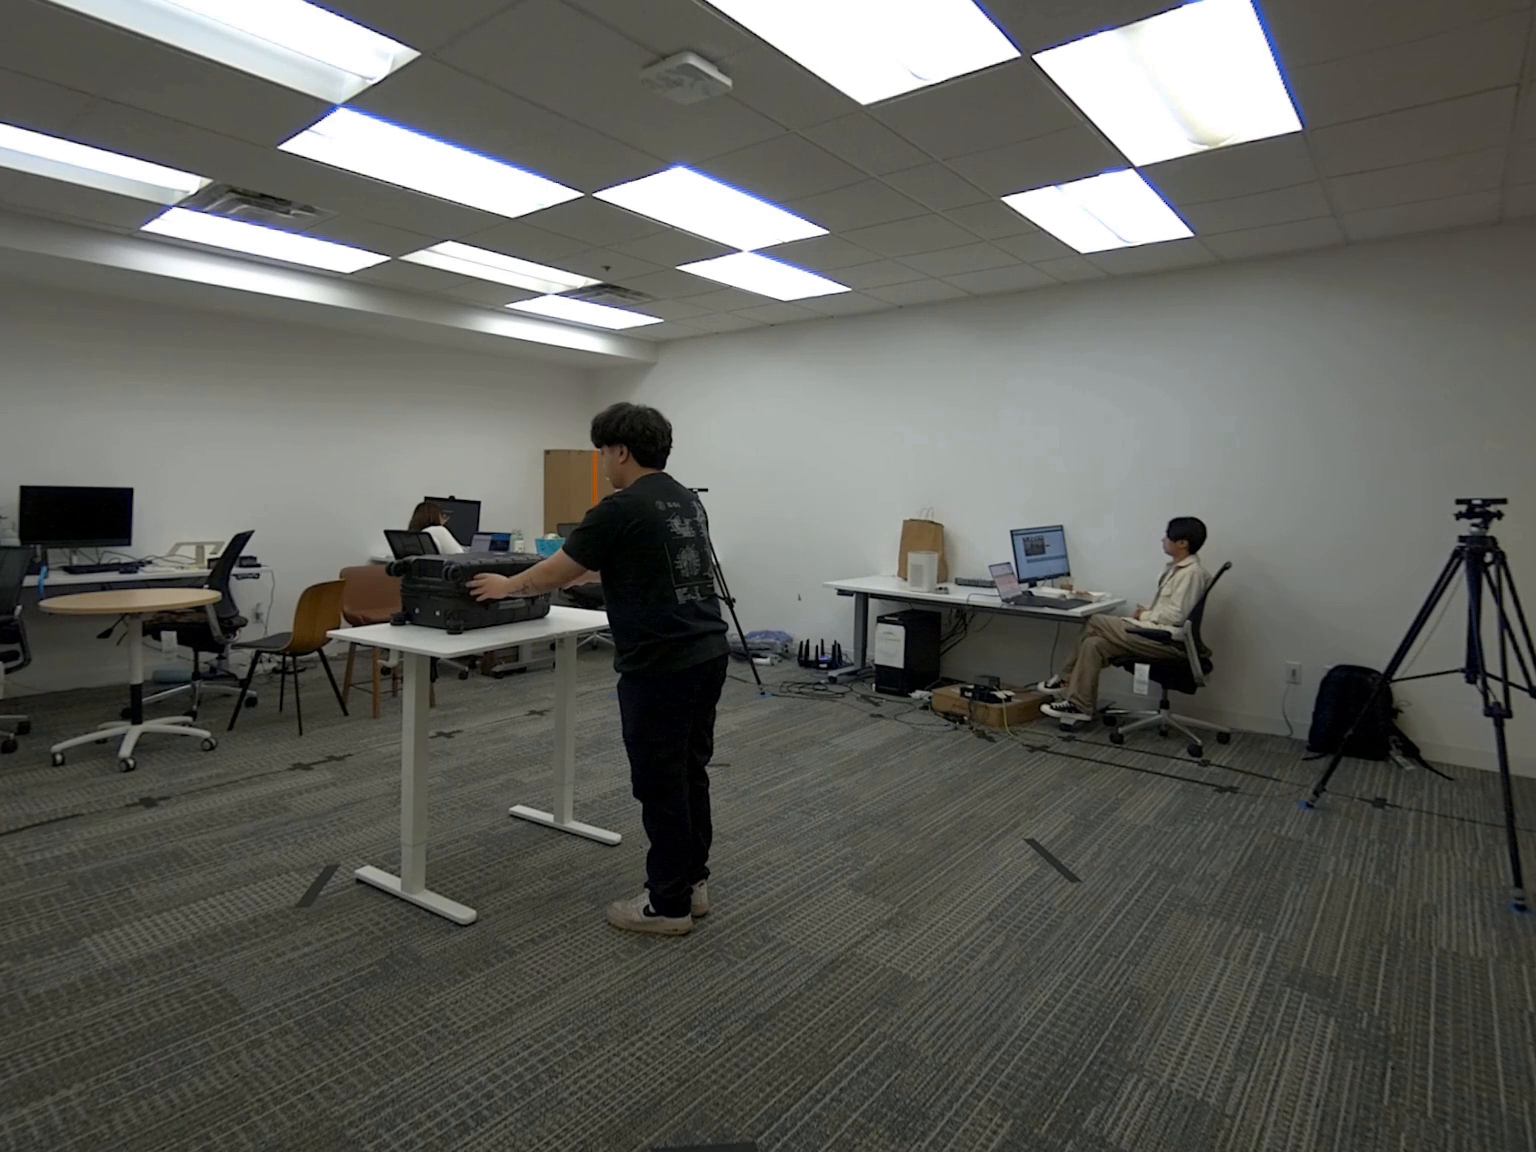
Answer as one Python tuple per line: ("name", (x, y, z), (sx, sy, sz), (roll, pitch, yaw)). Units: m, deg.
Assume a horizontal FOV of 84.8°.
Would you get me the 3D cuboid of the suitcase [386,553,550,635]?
("suitcase", (-1.098, 0.048, 3.174), (0.386, 0.247, 0.536), (3, 5, 29))
